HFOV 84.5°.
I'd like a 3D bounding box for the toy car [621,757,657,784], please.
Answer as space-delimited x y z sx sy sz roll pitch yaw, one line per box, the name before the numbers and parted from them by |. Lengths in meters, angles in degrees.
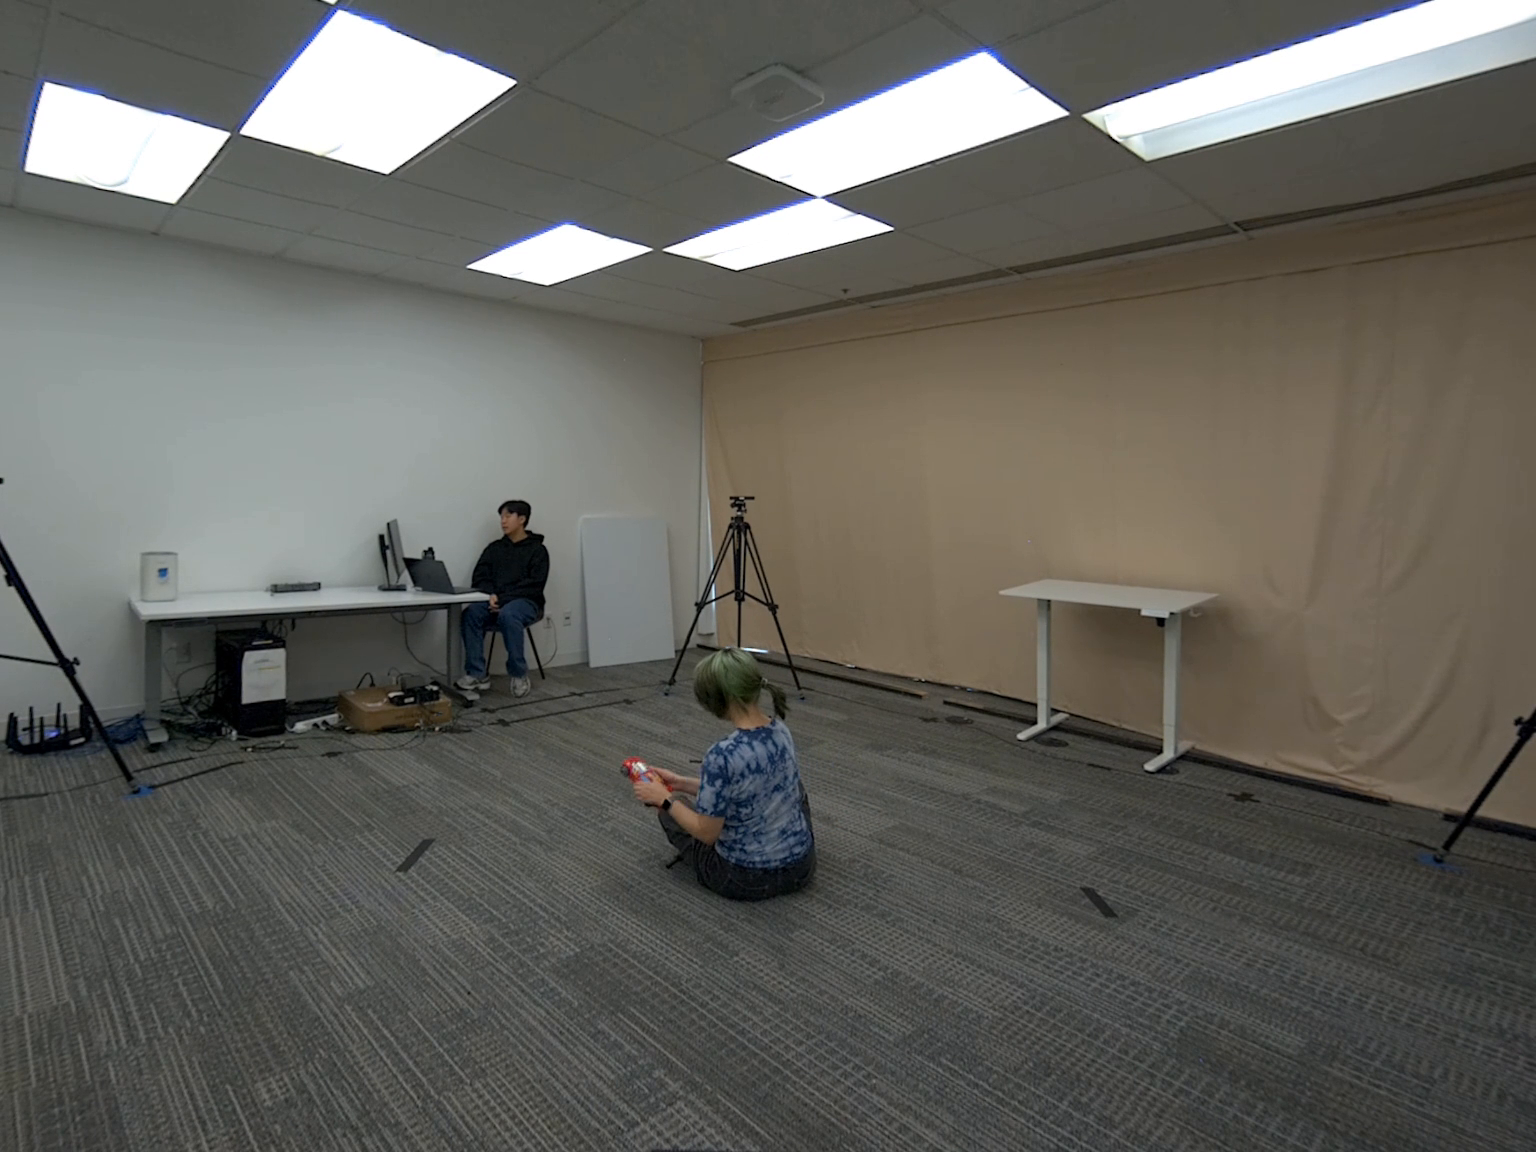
toy car | -0.432 0.777 3.114 0.261 0.083 0.127 31 13 28
